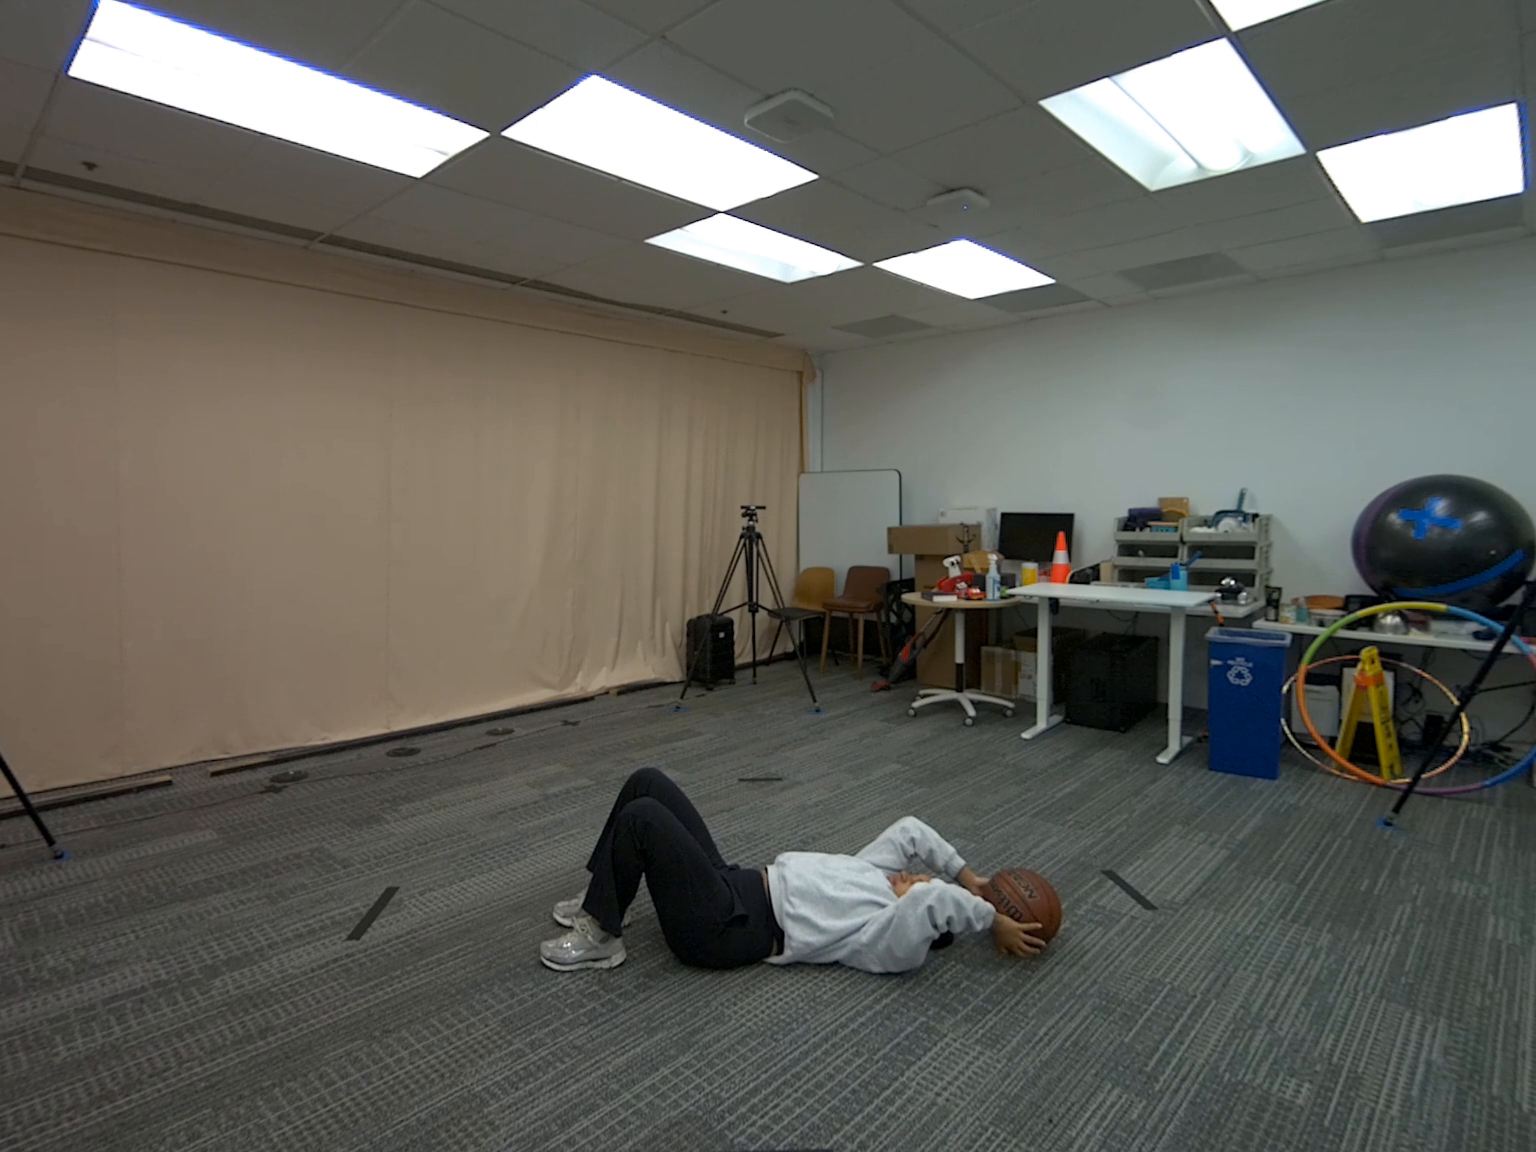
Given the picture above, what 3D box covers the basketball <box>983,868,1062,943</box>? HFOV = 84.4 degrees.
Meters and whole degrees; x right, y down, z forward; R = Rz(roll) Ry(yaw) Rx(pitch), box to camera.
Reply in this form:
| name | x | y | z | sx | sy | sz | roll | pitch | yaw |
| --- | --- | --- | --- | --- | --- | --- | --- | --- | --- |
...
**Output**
| name | x | y | z | sx | sy | sz | roll | pitch | yaw |
| --- | --- | --- | --- | --- | --- | --- | --- | --- | --- |
| basketball | 0.806 | 1.042 | 2.657 | 0.236 | 0.235 | 0.237 | 0 | 4 | -2 |
